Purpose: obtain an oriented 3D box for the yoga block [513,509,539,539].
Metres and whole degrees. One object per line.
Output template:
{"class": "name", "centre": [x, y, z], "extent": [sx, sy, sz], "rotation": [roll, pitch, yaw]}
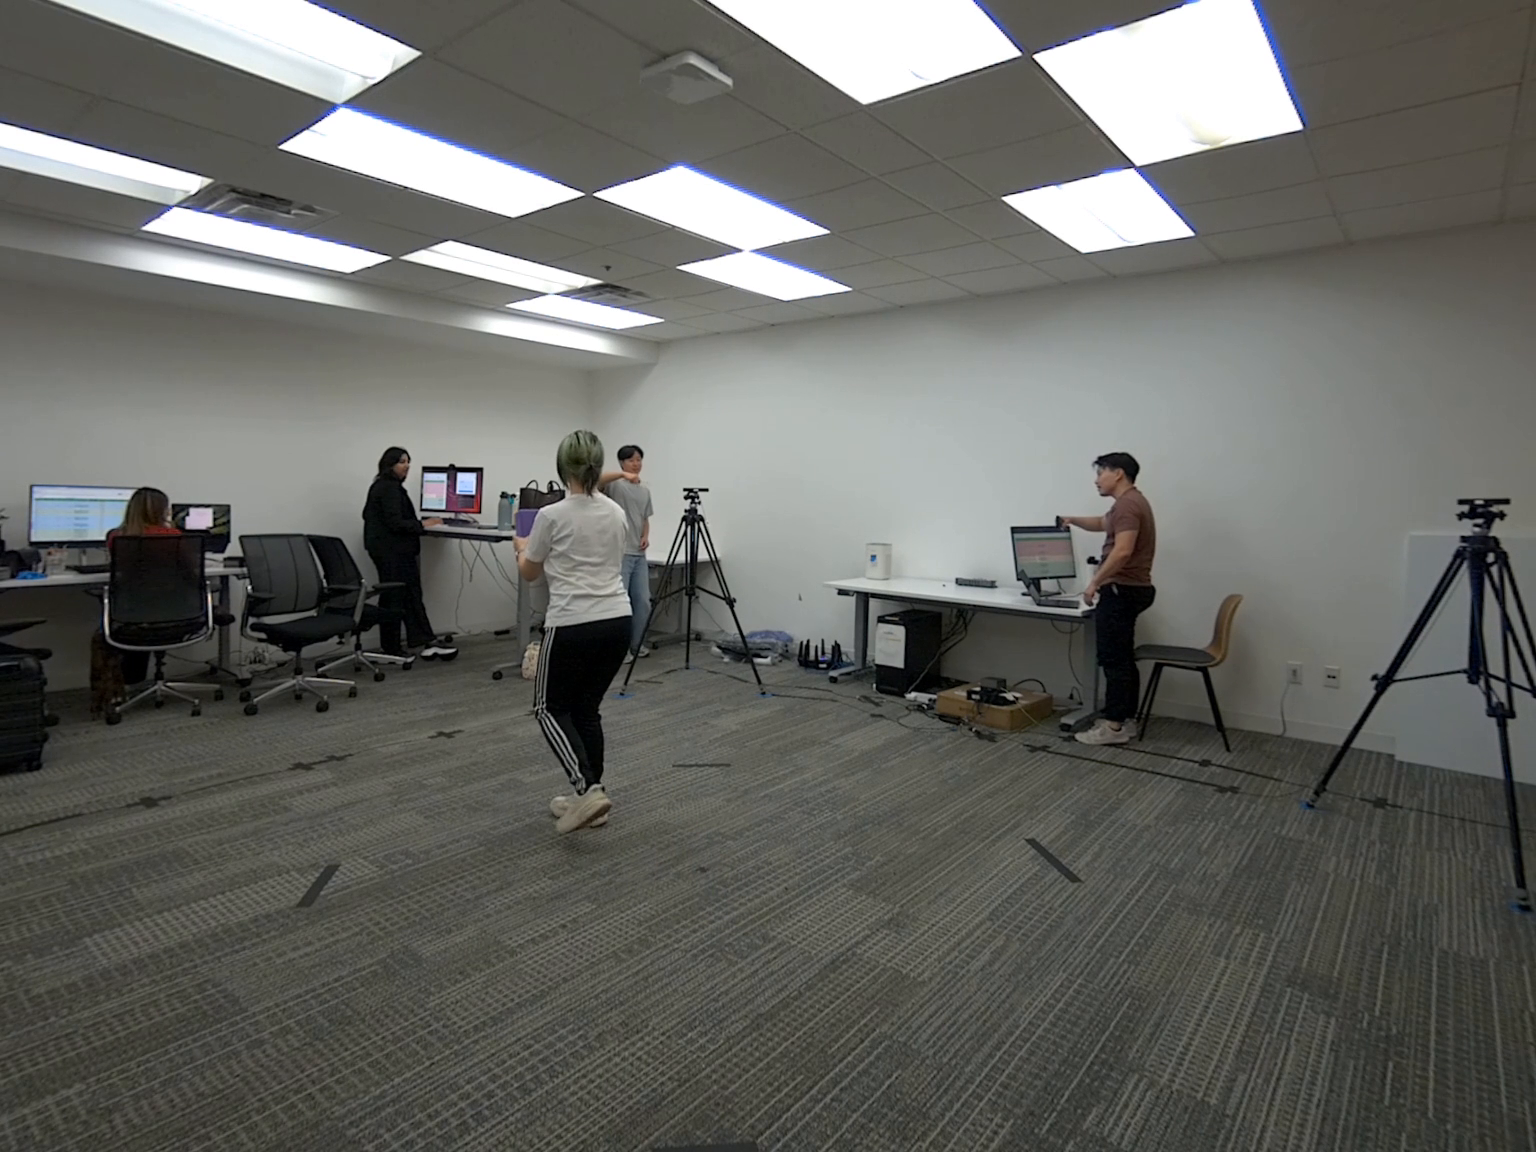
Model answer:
{"class": "yoga block", "centre": [-1.056, -0.181, 3.817], "extent": [0.145, 0.231, 0.078], "rotation": [-3, -8, -34]}
